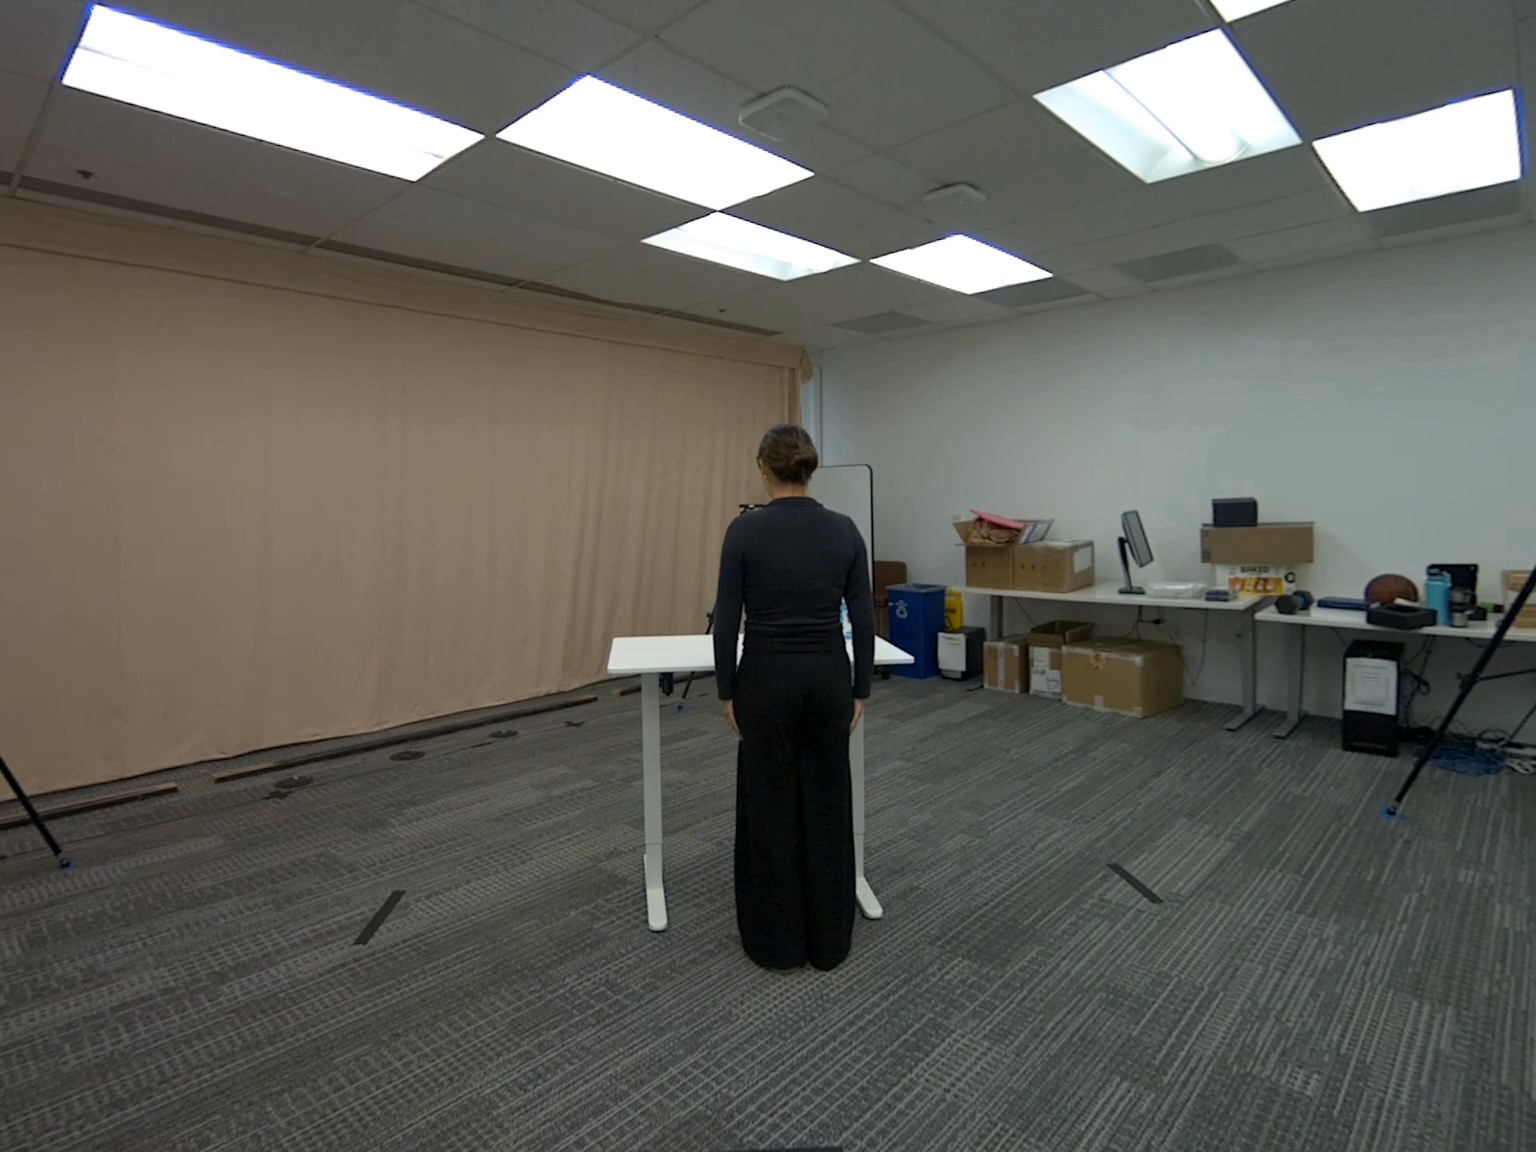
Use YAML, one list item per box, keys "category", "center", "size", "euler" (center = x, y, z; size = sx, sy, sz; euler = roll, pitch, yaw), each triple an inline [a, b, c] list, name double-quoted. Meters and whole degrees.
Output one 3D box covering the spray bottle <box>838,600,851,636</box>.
- category: "spray bottle"
  center: [0.297, 0.091, 3.182]
  size: [0.088, 0.297, 0.089]
  euler: [-3, 2, 14]
